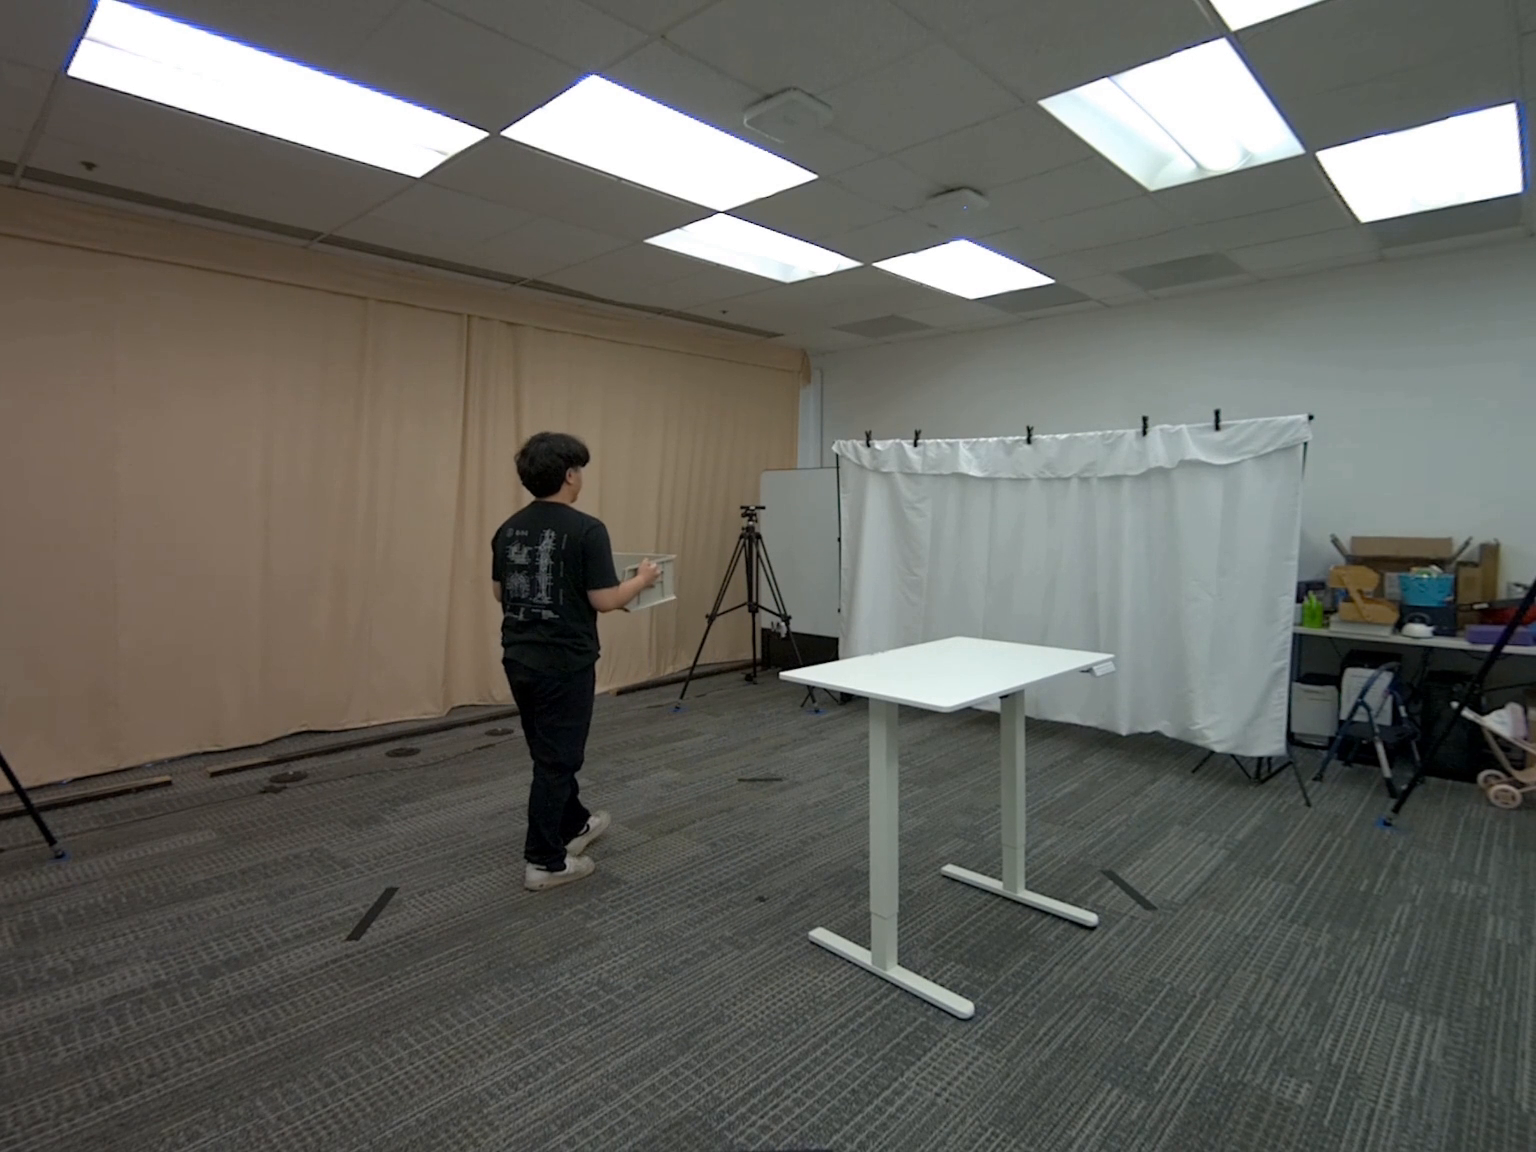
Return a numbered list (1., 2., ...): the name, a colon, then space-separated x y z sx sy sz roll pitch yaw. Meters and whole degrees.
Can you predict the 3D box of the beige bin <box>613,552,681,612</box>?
1. beige bin: -0.642 0.014 3.431 0.435 0.188 0.367 1 6 31
